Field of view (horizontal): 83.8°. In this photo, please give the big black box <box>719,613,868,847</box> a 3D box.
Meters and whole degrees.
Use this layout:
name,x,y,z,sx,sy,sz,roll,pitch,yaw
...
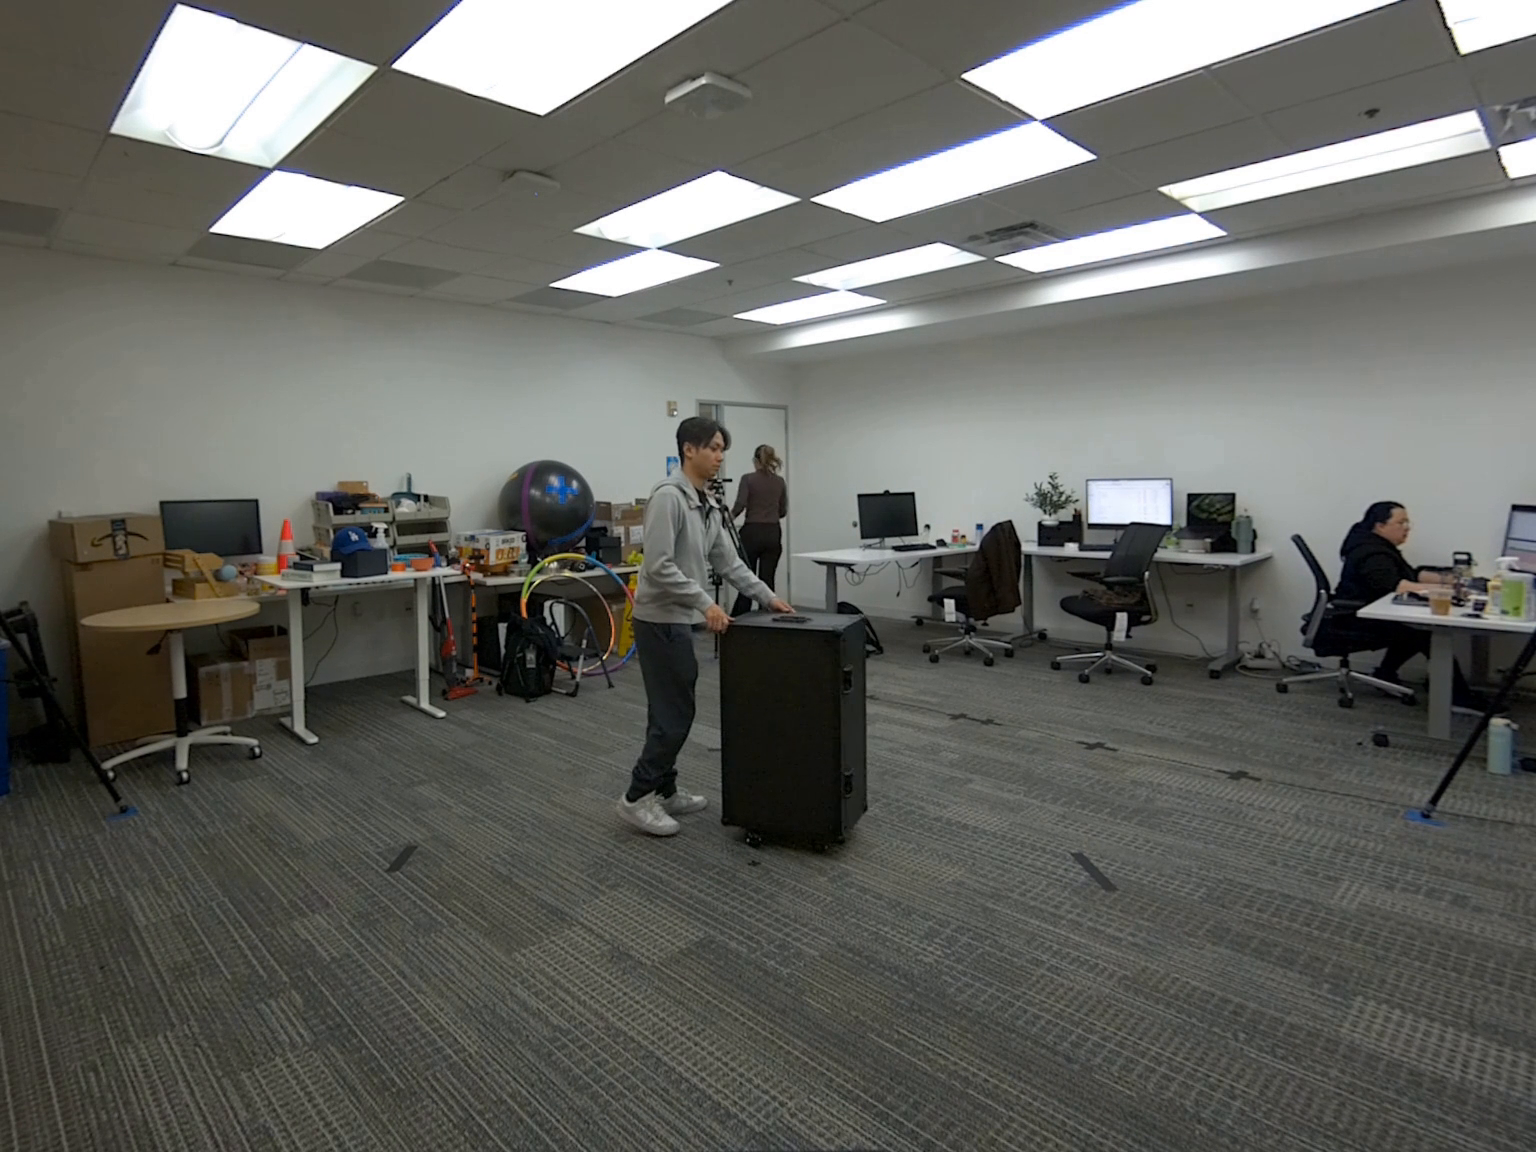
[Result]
name,x,y,z,sx,sy,sz,roll,pitch,yaw
big black box,0.102,0.590,3.336,0.533,0.859,0.389,1,3,24
